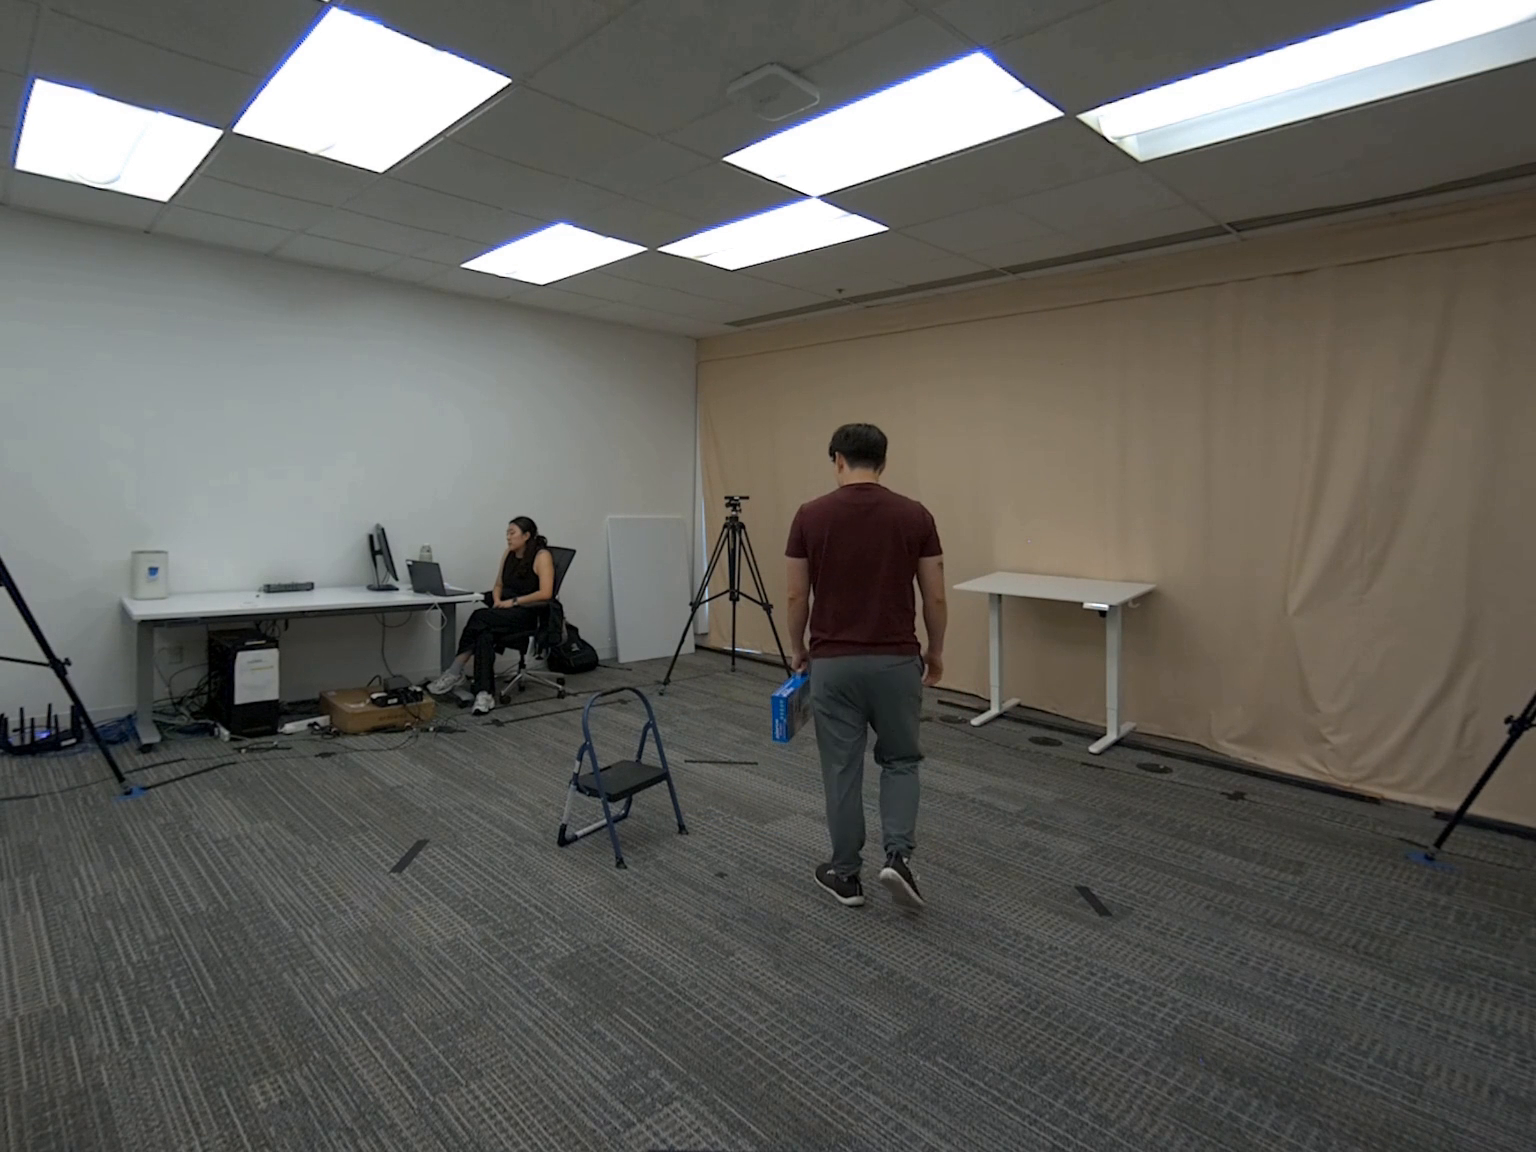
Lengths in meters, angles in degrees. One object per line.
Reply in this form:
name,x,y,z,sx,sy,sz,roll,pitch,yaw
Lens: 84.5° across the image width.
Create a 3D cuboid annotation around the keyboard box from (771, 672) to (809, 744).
keyboard box,0.128,0.446,3.094,0.060,0.174,0.433,5,16,23
